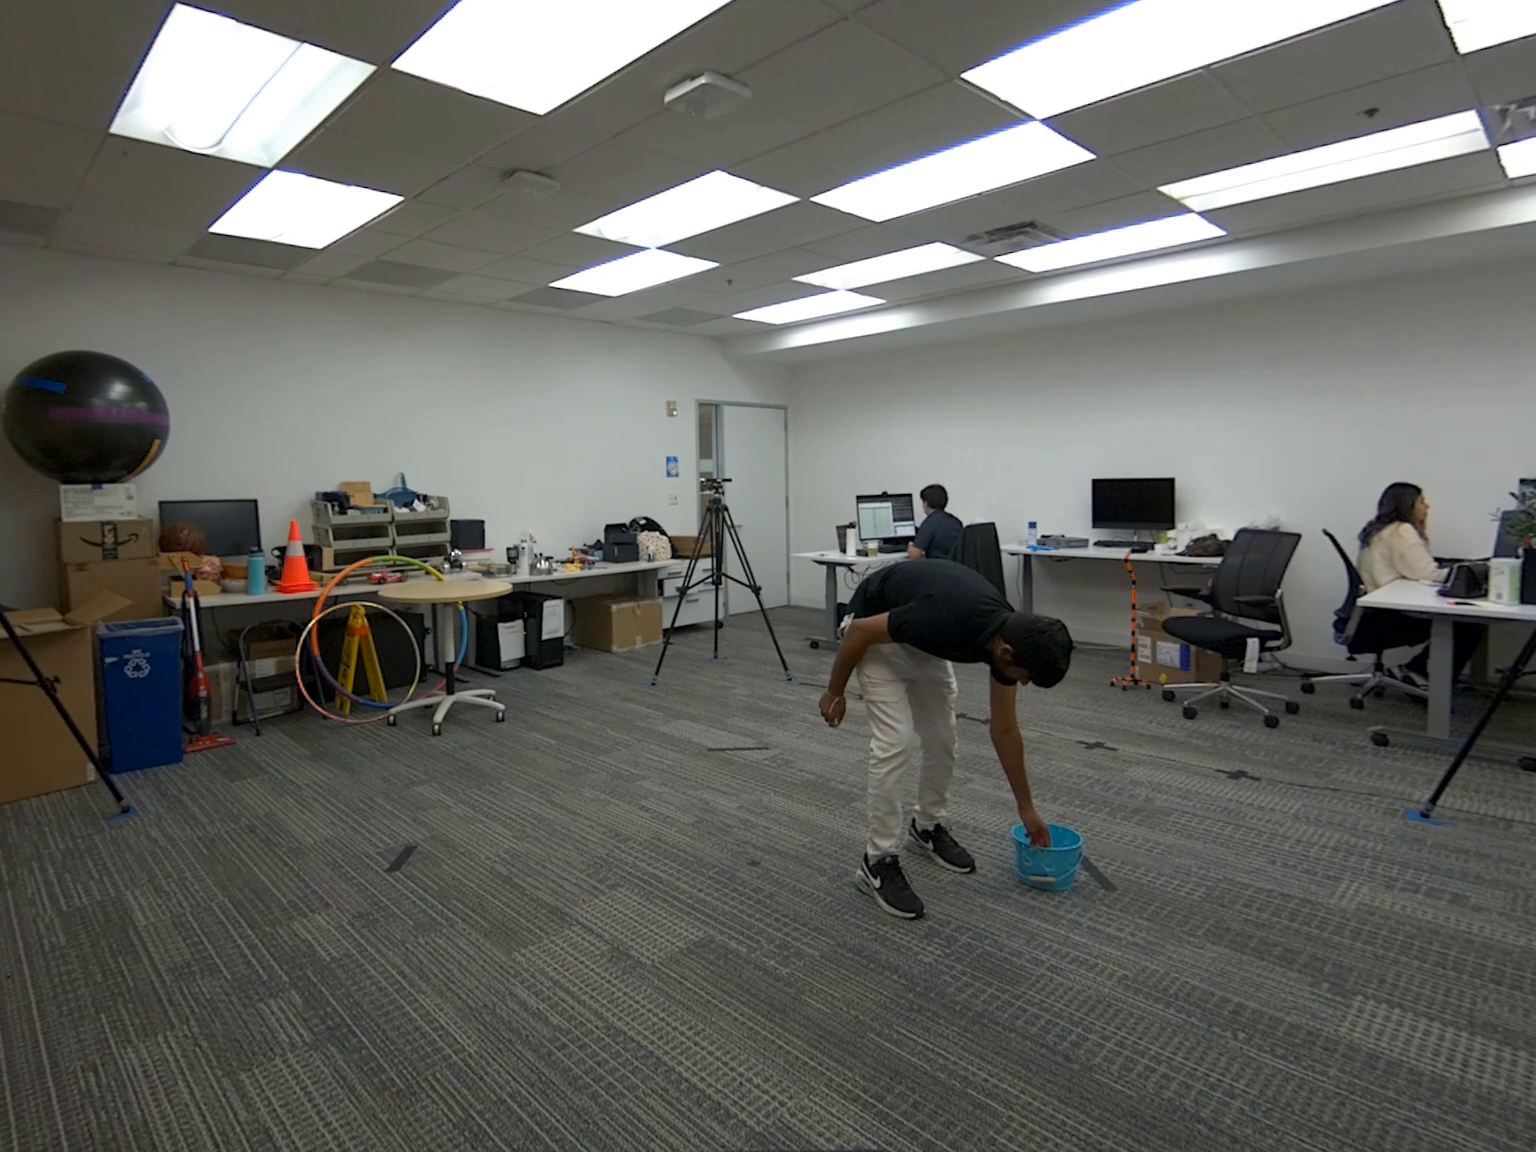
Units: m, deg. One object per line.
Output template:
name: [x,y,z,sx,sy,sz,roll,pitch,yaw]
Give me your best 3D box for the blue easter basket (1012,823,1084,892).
blue easter basket: [0.955,0.965,2.944,0.243,0.155,0.245,-1,5,-2]
